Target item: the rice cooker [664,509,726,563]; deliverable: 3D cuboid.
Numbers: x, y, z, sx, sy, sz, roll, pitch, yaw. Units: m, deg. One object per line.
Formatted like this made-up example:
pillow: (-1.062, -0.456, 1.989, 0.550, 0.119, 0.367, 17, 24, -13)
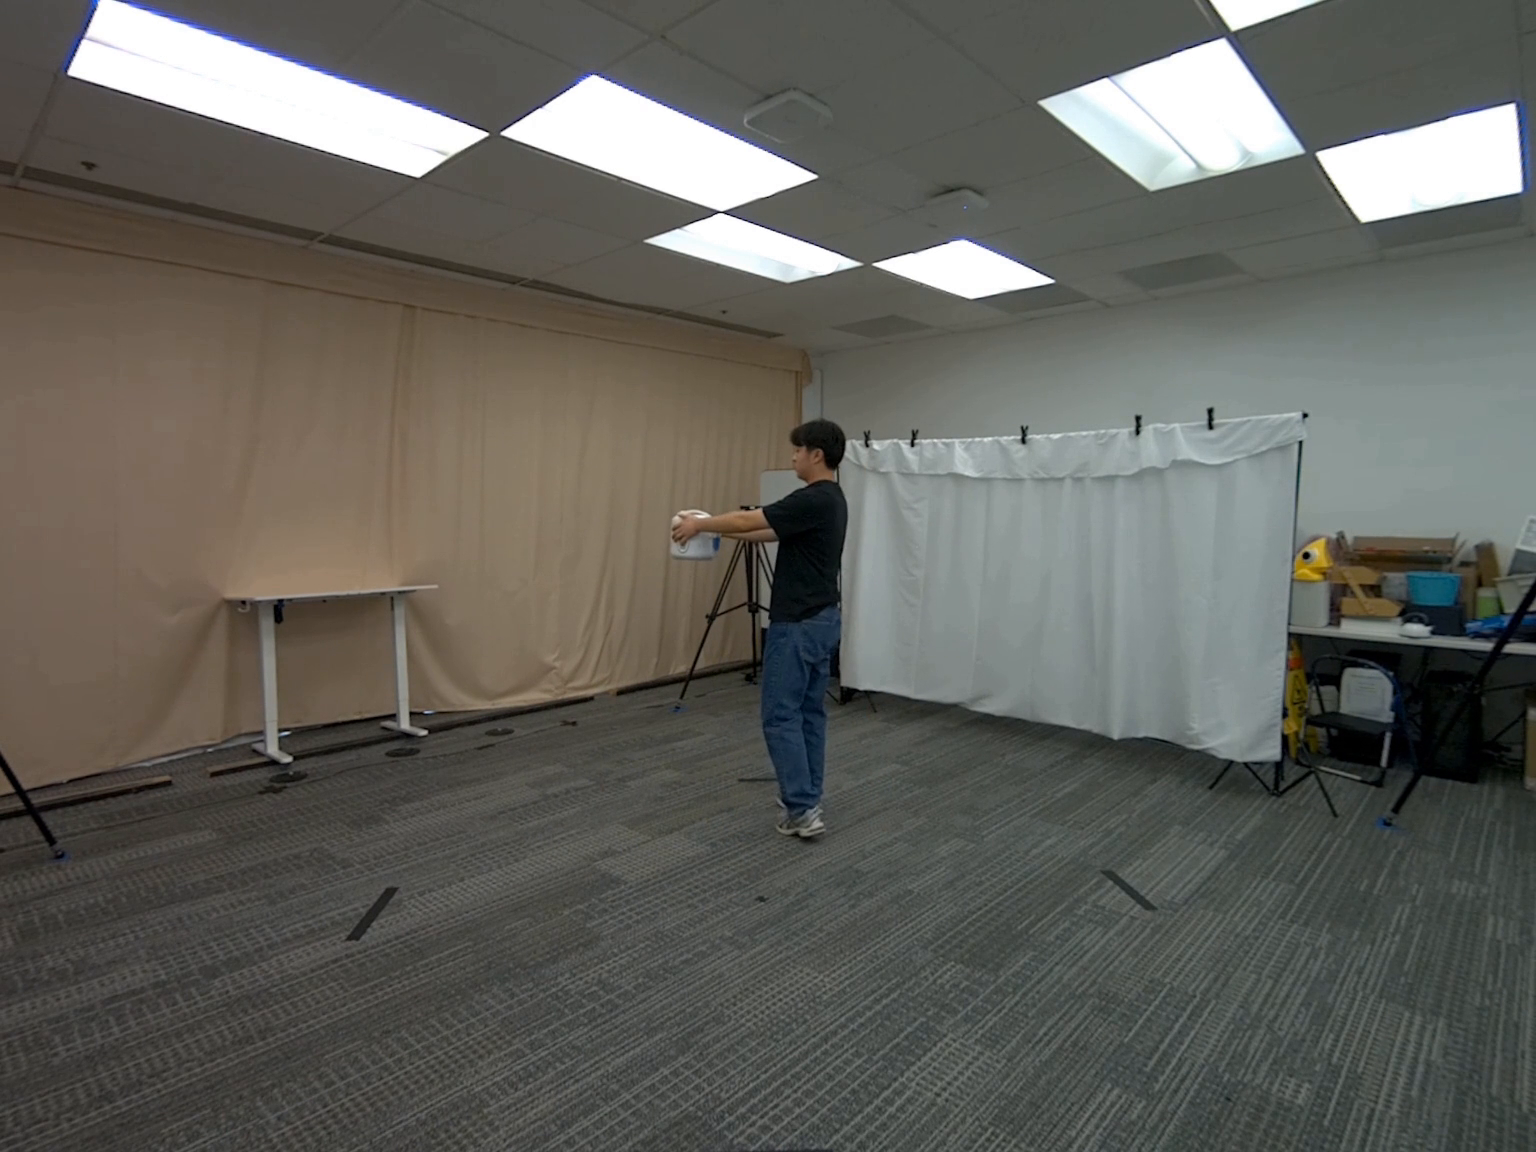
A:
rice cooker: (-0.337, -0.188, 3.898, 0.225, 0.232, 0.214, 1, 3, 17)
